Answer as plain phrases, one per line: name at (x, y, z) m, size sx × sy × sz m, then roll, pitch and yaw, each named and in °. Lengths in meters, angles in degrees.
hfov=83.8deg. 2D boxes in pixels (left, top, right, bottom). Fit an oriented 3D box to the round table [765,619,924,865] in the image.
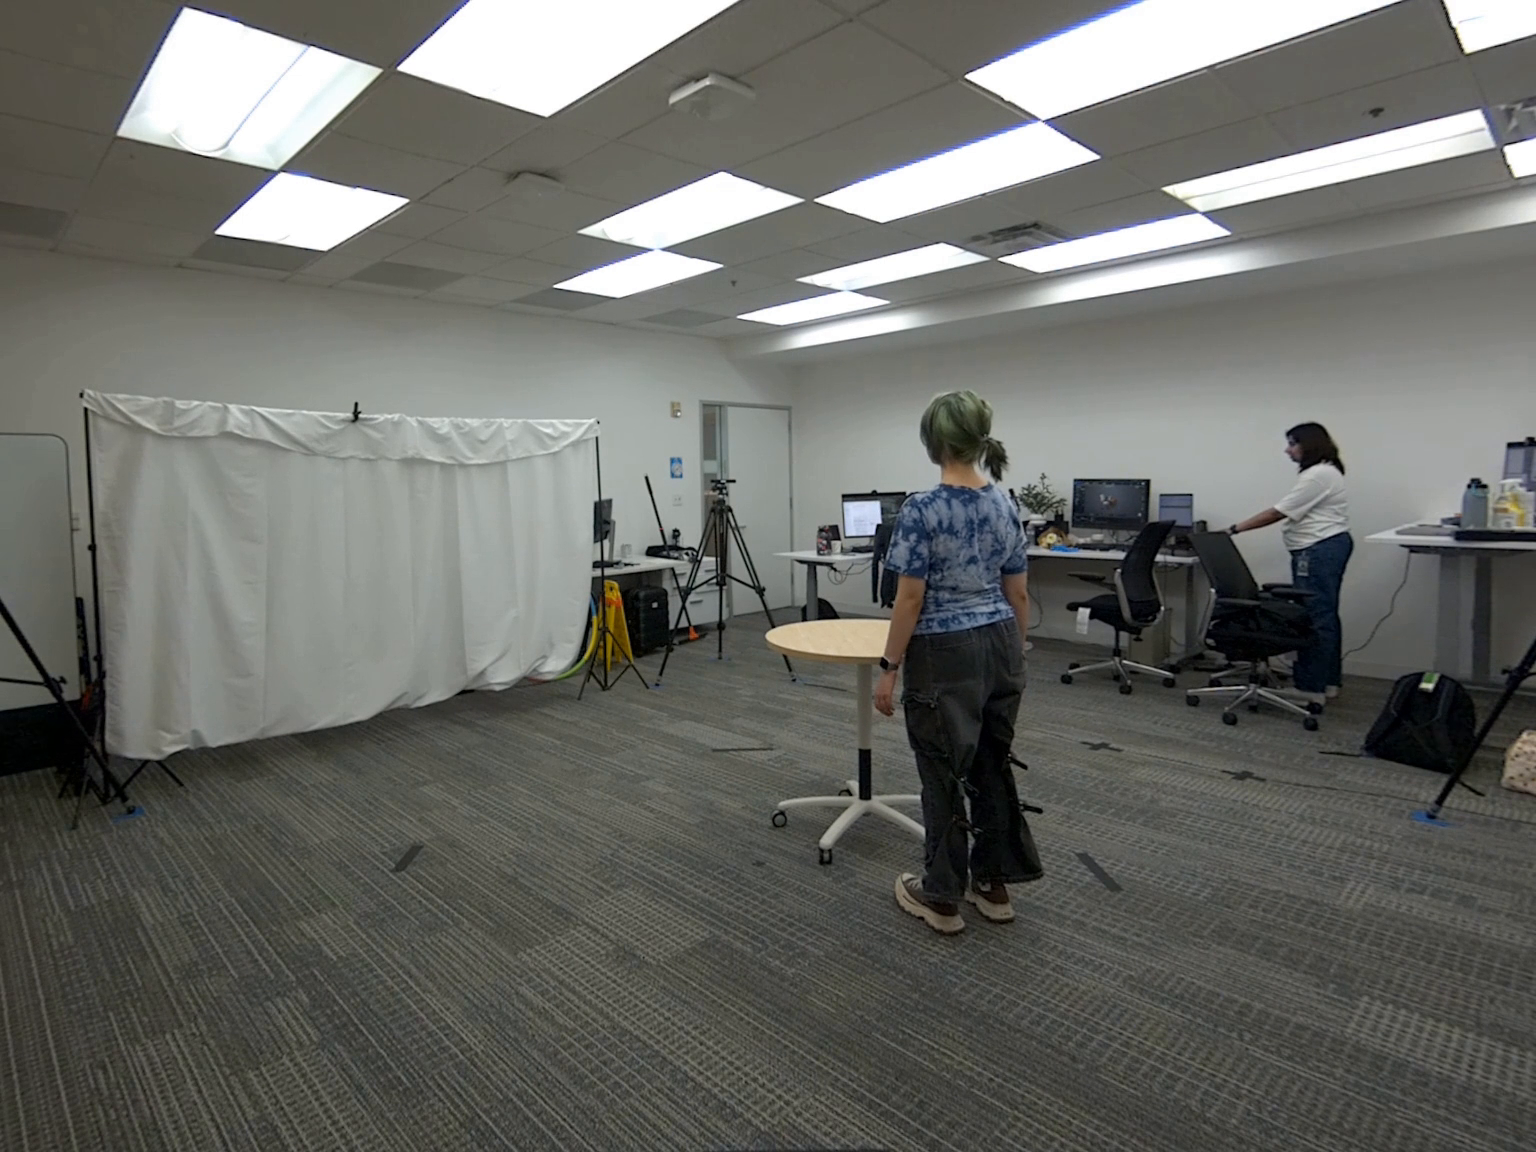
round table at (0.369, 0.624, 3.336) m, size 0.763 × 0.791 × 0.768 m, roll -1°, pitch 5°, yaw -2°
